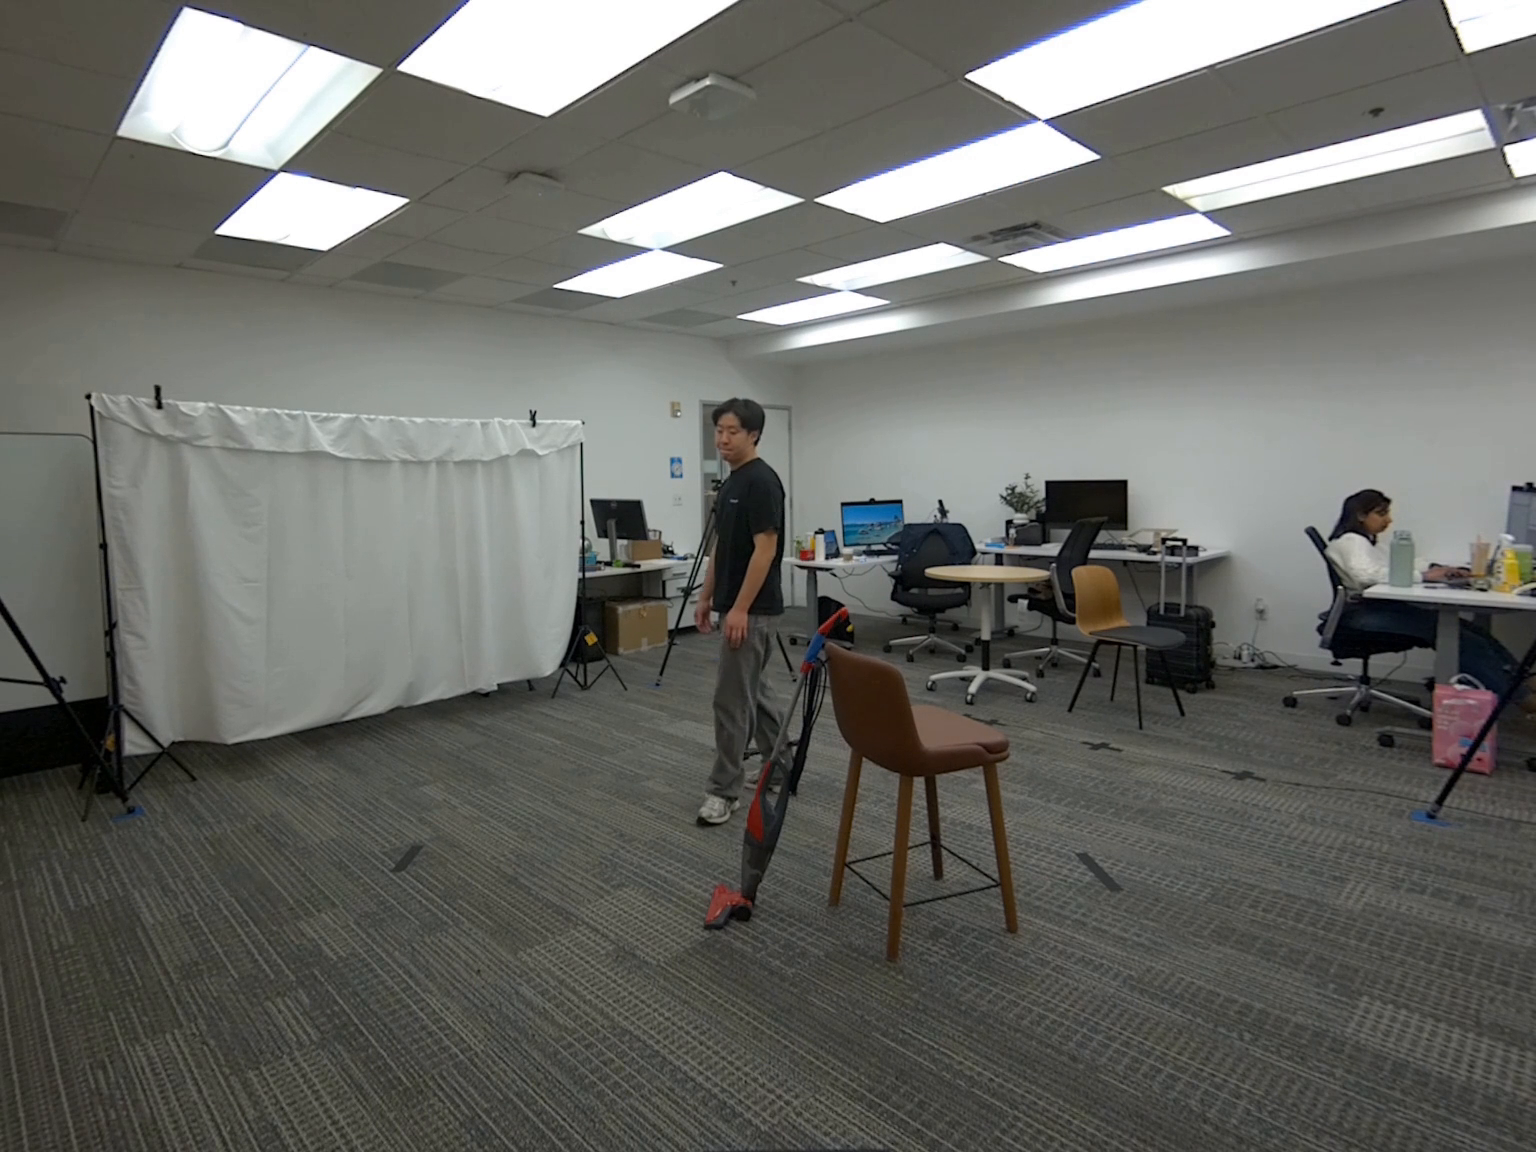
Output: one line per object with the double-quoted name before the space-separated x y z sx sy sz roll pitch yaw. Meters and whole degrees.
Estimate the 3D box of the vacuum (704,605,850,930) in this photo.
"vacuum" 0.057 0.596 2.716 0.144 1.046 0.252 18 5 1
